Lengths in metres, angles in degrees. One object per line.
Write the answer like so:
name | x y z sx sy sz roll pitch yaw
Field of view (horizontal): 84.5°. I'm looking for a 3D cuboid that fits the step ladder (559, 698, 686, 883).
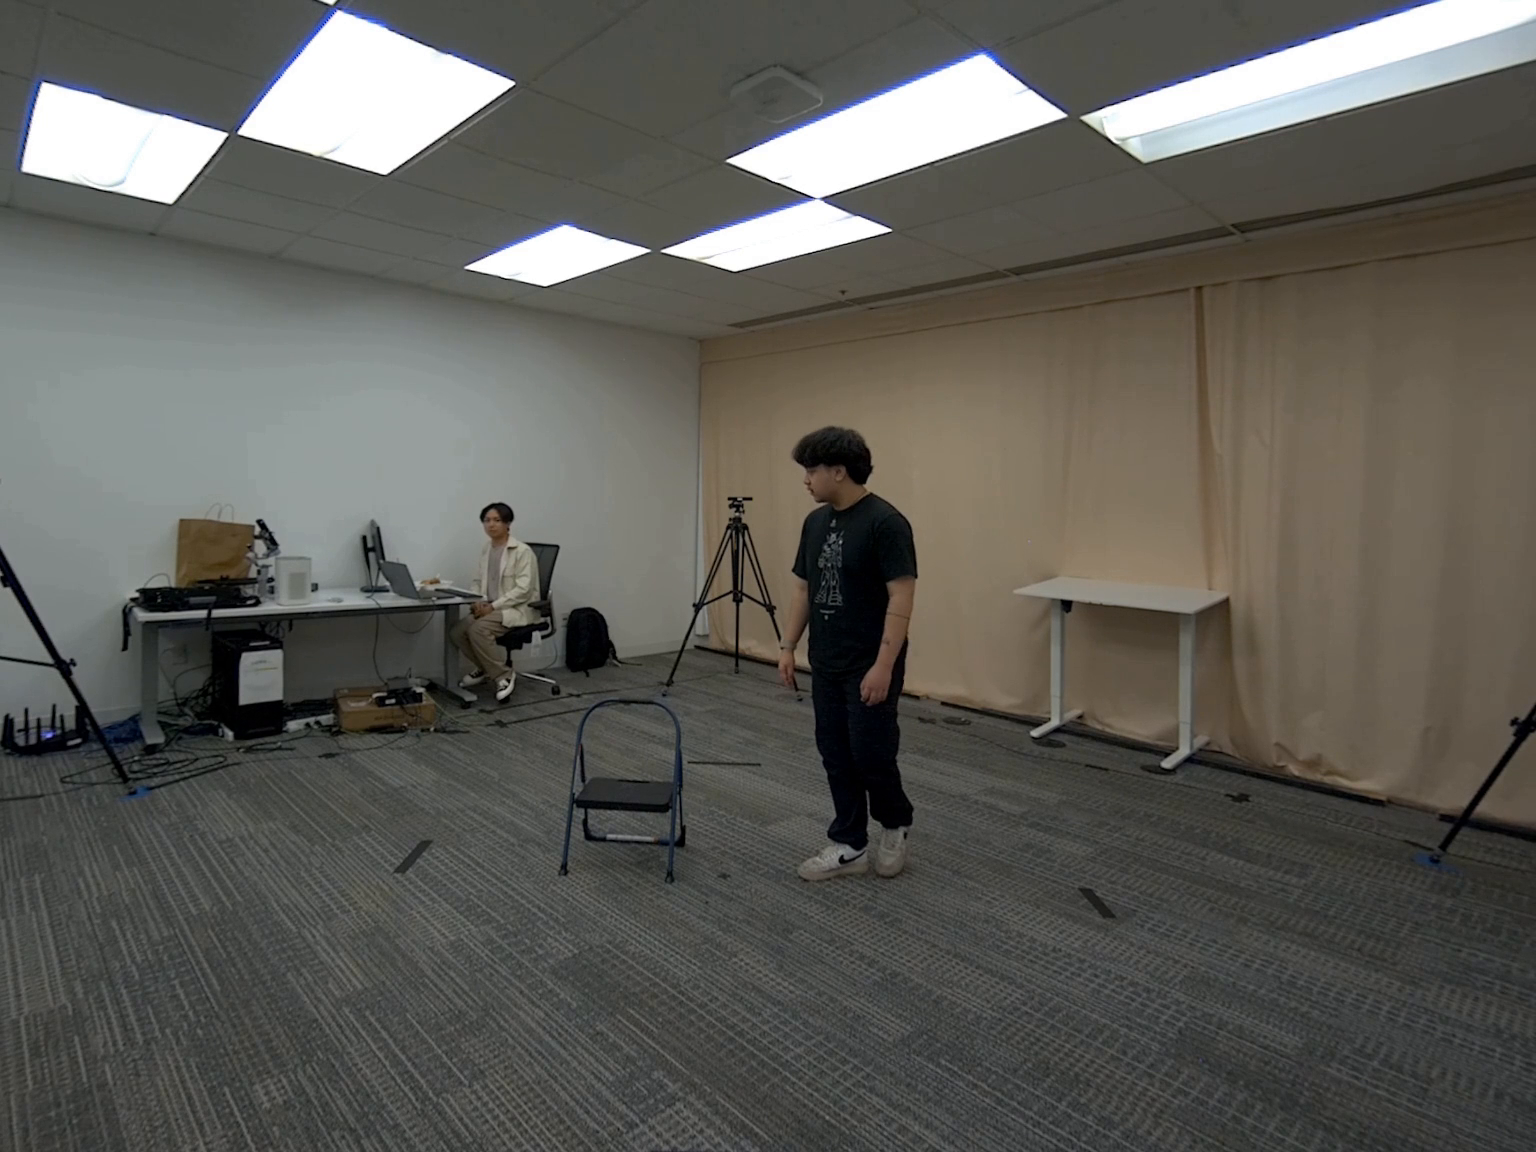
step ladder | -0.541 0.781 3.216 0.432 0.604 0.349 1 3 4
